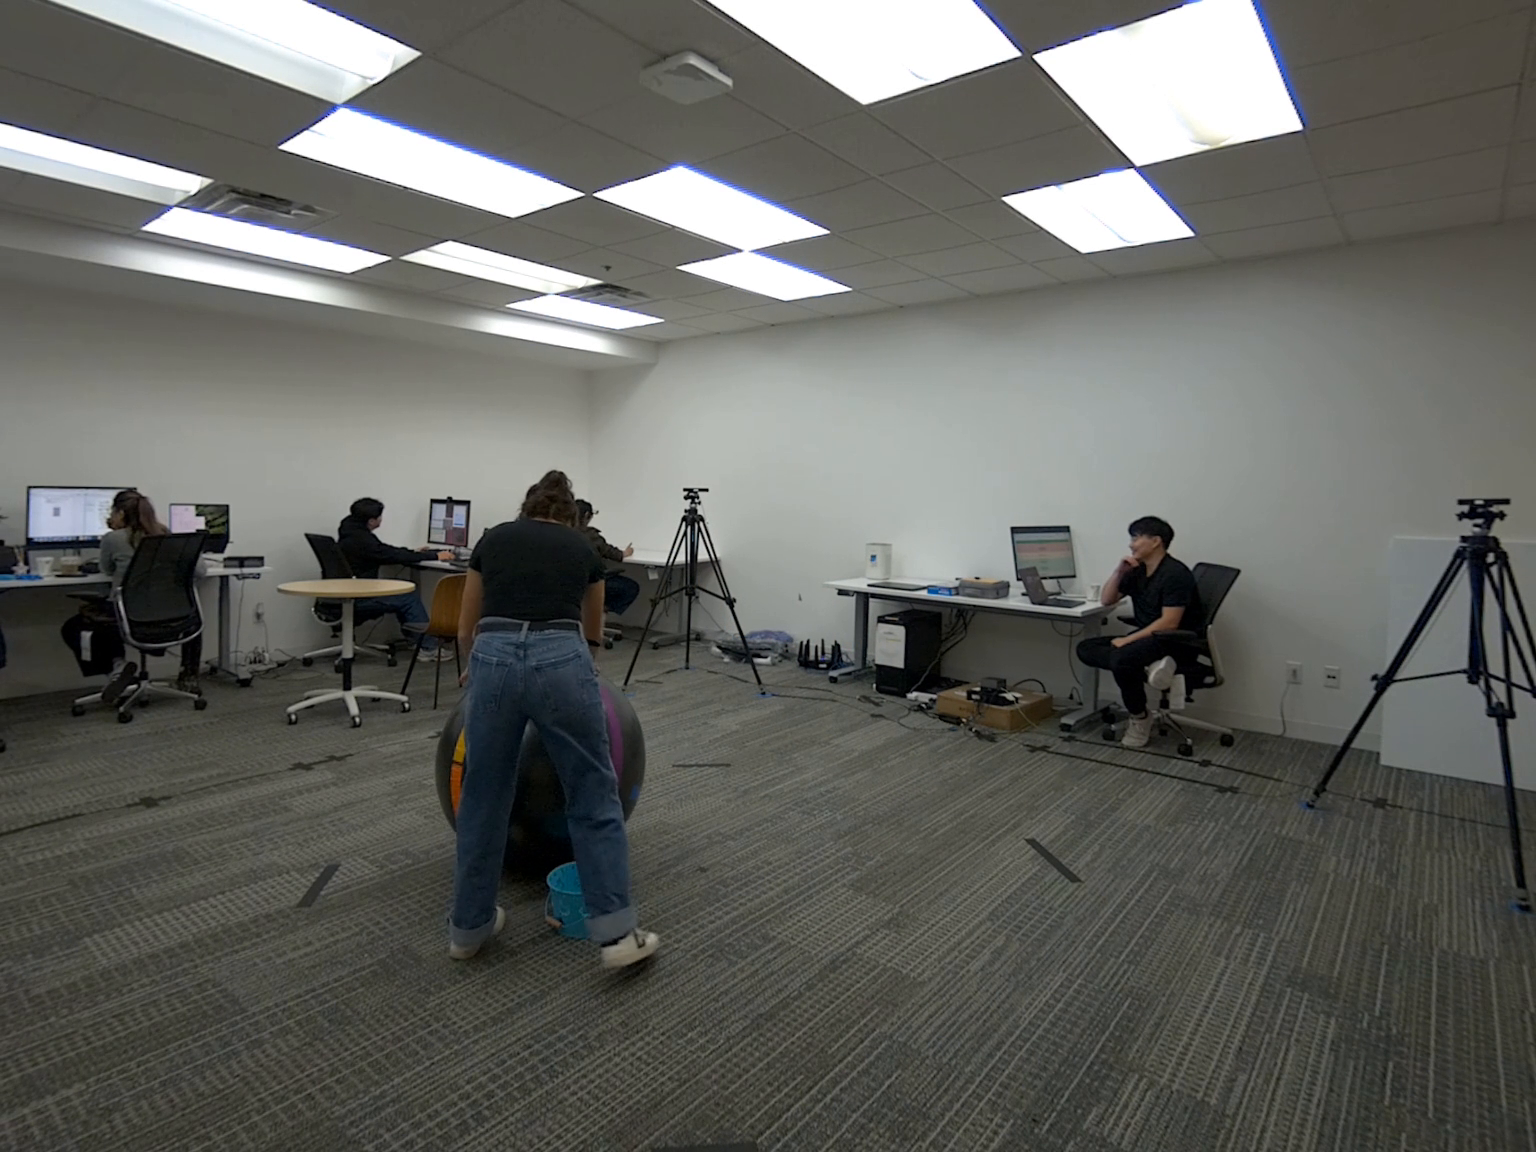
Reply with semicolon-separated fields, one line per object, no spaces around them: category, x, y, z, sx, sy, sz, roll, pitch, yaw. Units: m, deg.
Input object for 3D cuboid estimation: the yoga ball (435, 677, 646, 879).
yoga ball;-0.829;0.683;3.125;0.757;0.756;0.762;1;4;-2
